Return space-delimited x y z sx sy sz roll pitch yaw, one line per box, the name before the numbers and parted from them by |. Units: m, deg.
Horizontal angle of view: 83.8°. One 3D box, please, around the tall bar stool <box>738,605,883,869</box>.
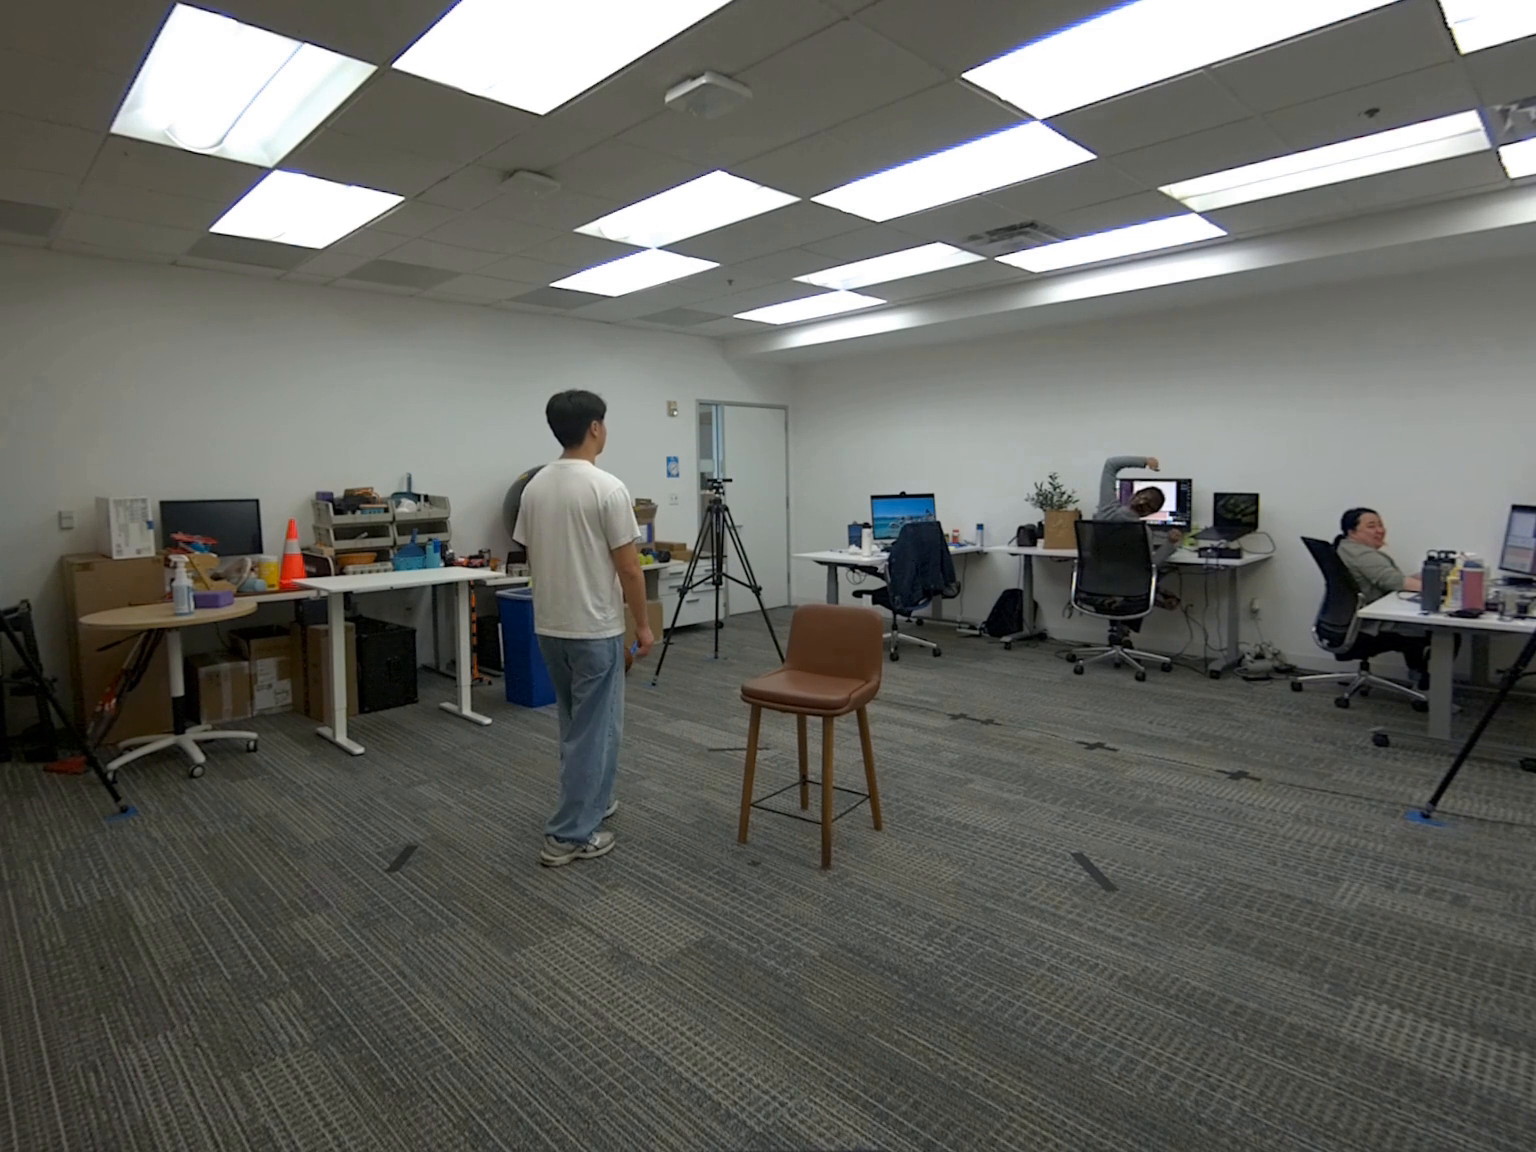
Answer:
tall bar stool | 0.173 0.580 3.314 0.470 0.888 0.455 3 3 38
